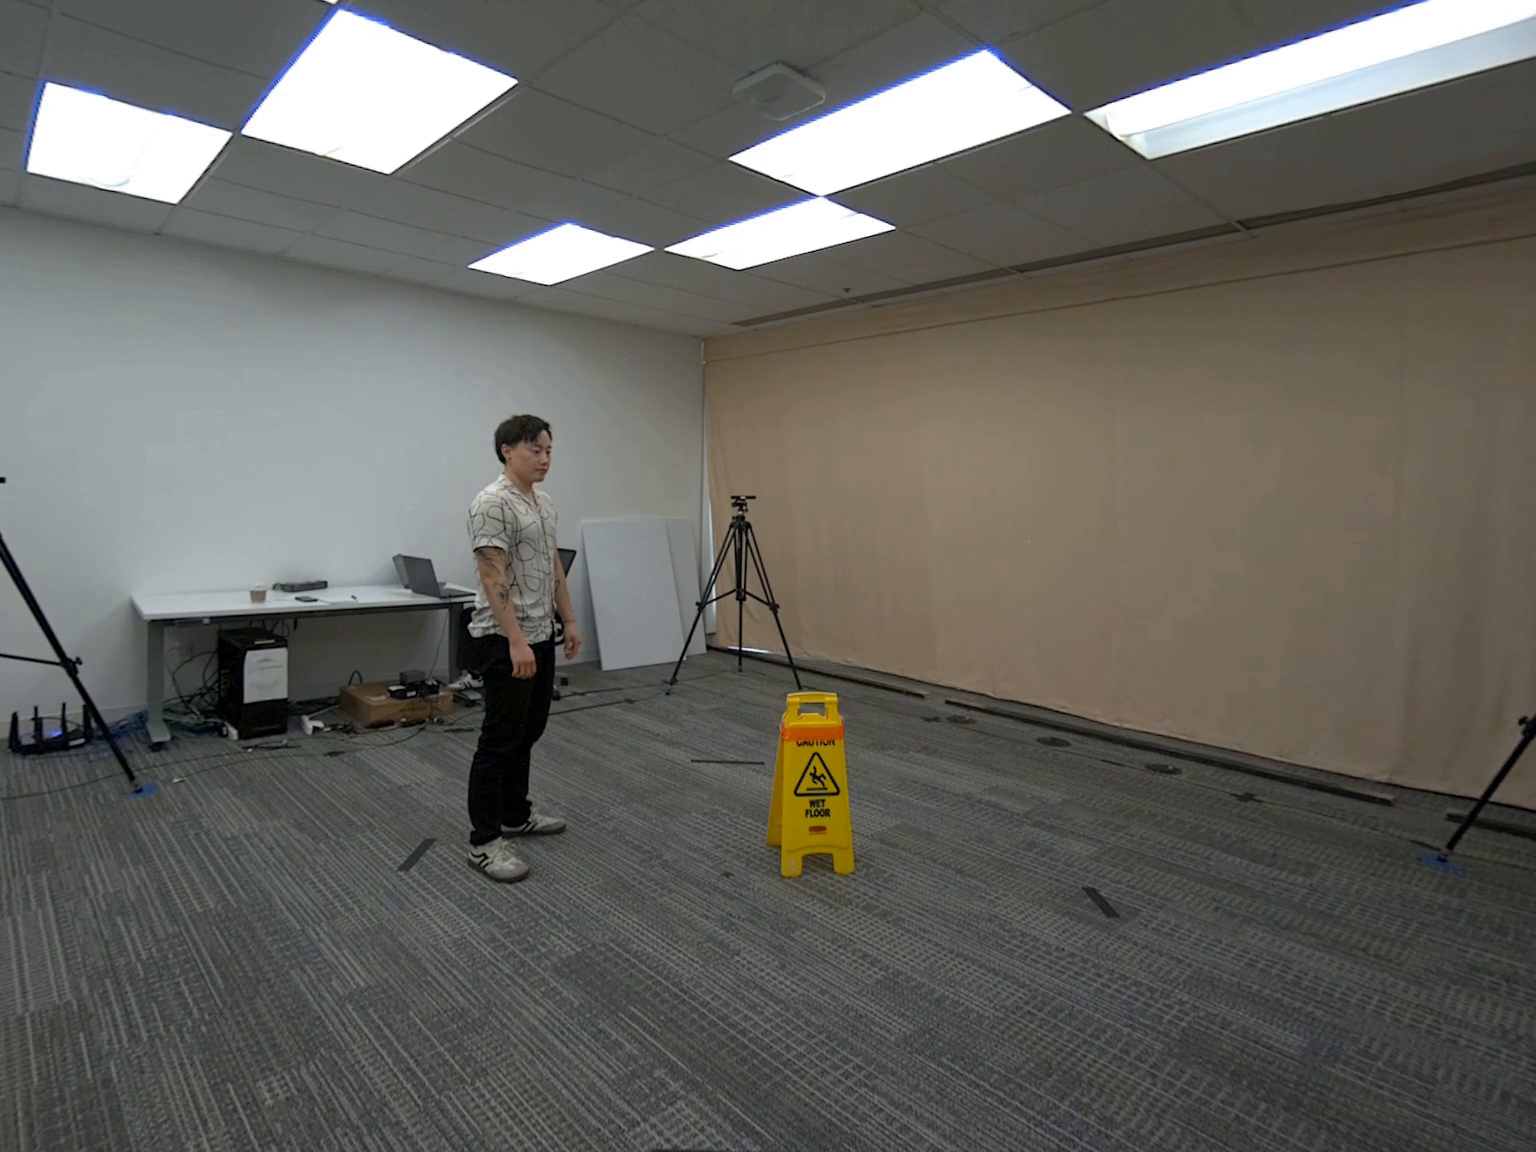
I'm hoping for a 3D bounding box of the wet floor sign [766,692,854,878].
[{"bbox_3d":[0.156,0.768,3.244,0.280,0.645,0.293,1,2,-11],"label":"wet floor sign"}]
